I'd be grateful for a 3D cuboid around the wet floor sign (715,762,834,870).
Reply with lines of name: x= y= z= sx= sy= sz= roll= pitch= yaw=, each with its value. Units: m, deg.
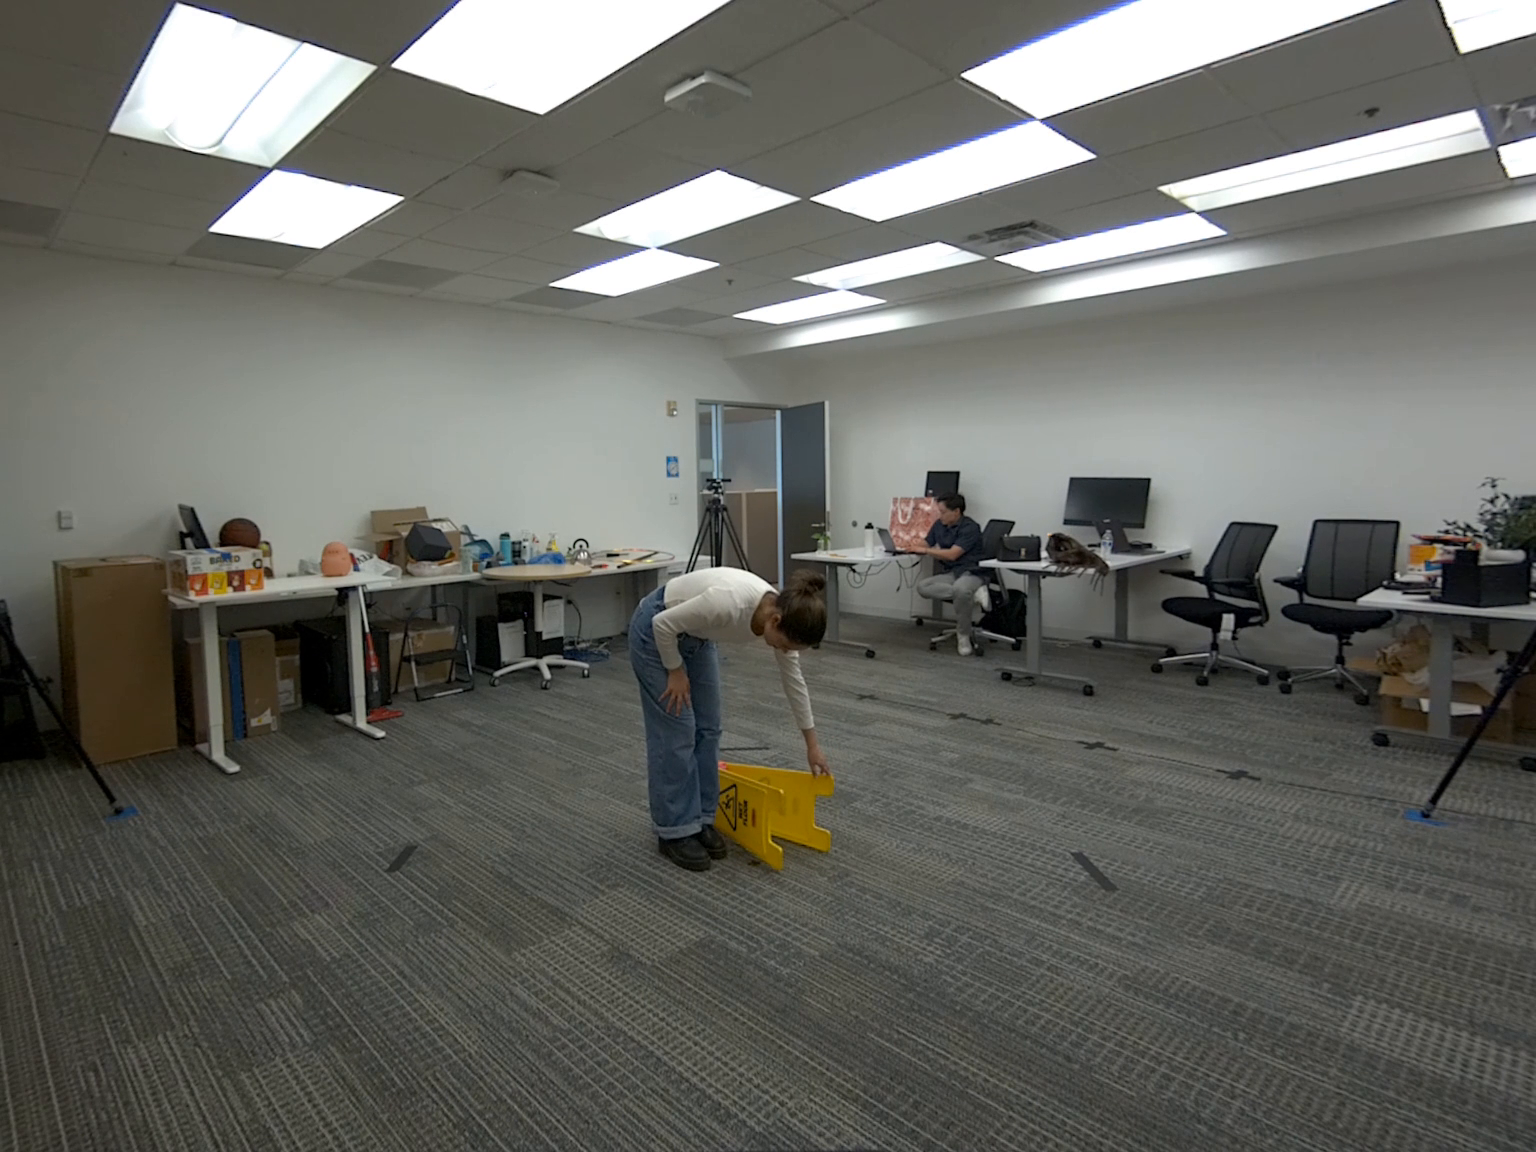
wet floor sign: x=-0.088 y=0.886 z=3.344 sx=0.281 sy=0.282 sz=0.665 roll=1 pitch=1 yaw=-44
